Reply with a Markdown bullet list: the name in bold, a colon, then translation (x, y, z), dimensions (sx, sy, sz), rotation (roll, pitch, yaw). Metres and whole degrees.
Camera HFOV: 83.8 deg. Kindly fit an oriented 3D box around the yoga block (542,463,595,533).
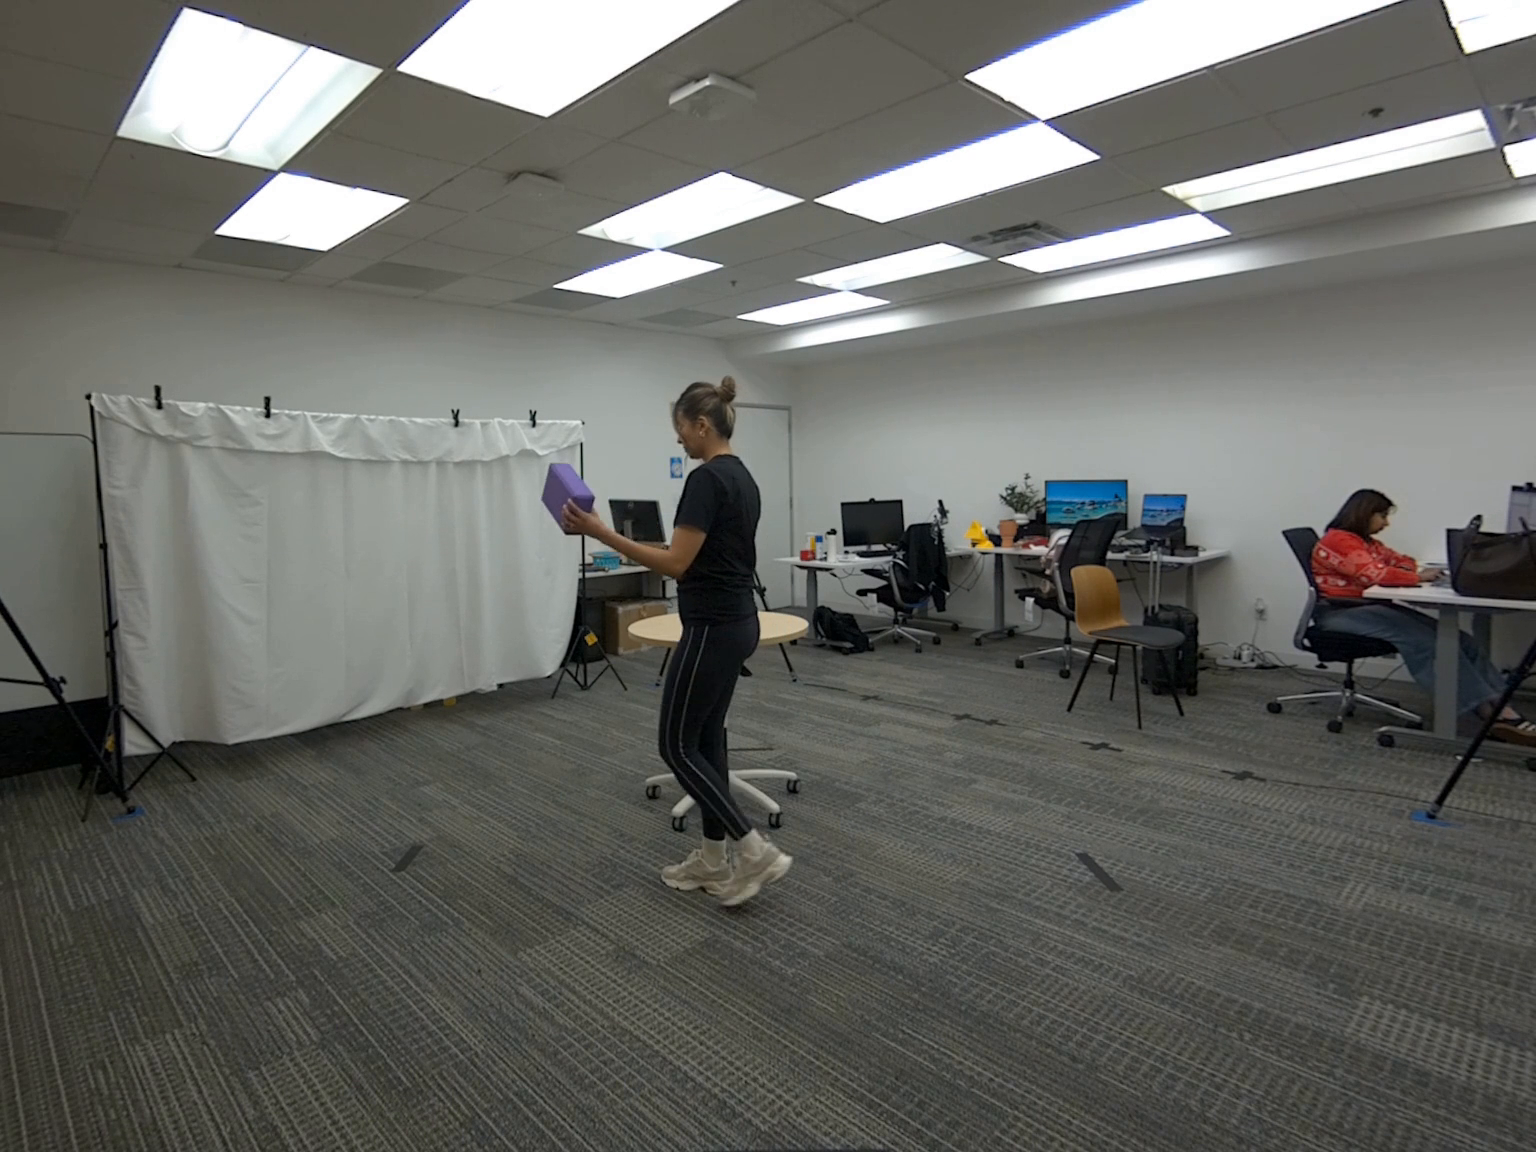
- **yoga block**: translation (-0.640, -0.245, 2.765), dimensions (0.074, 0.147, 0.238), rotation (-3, 35, -36)
